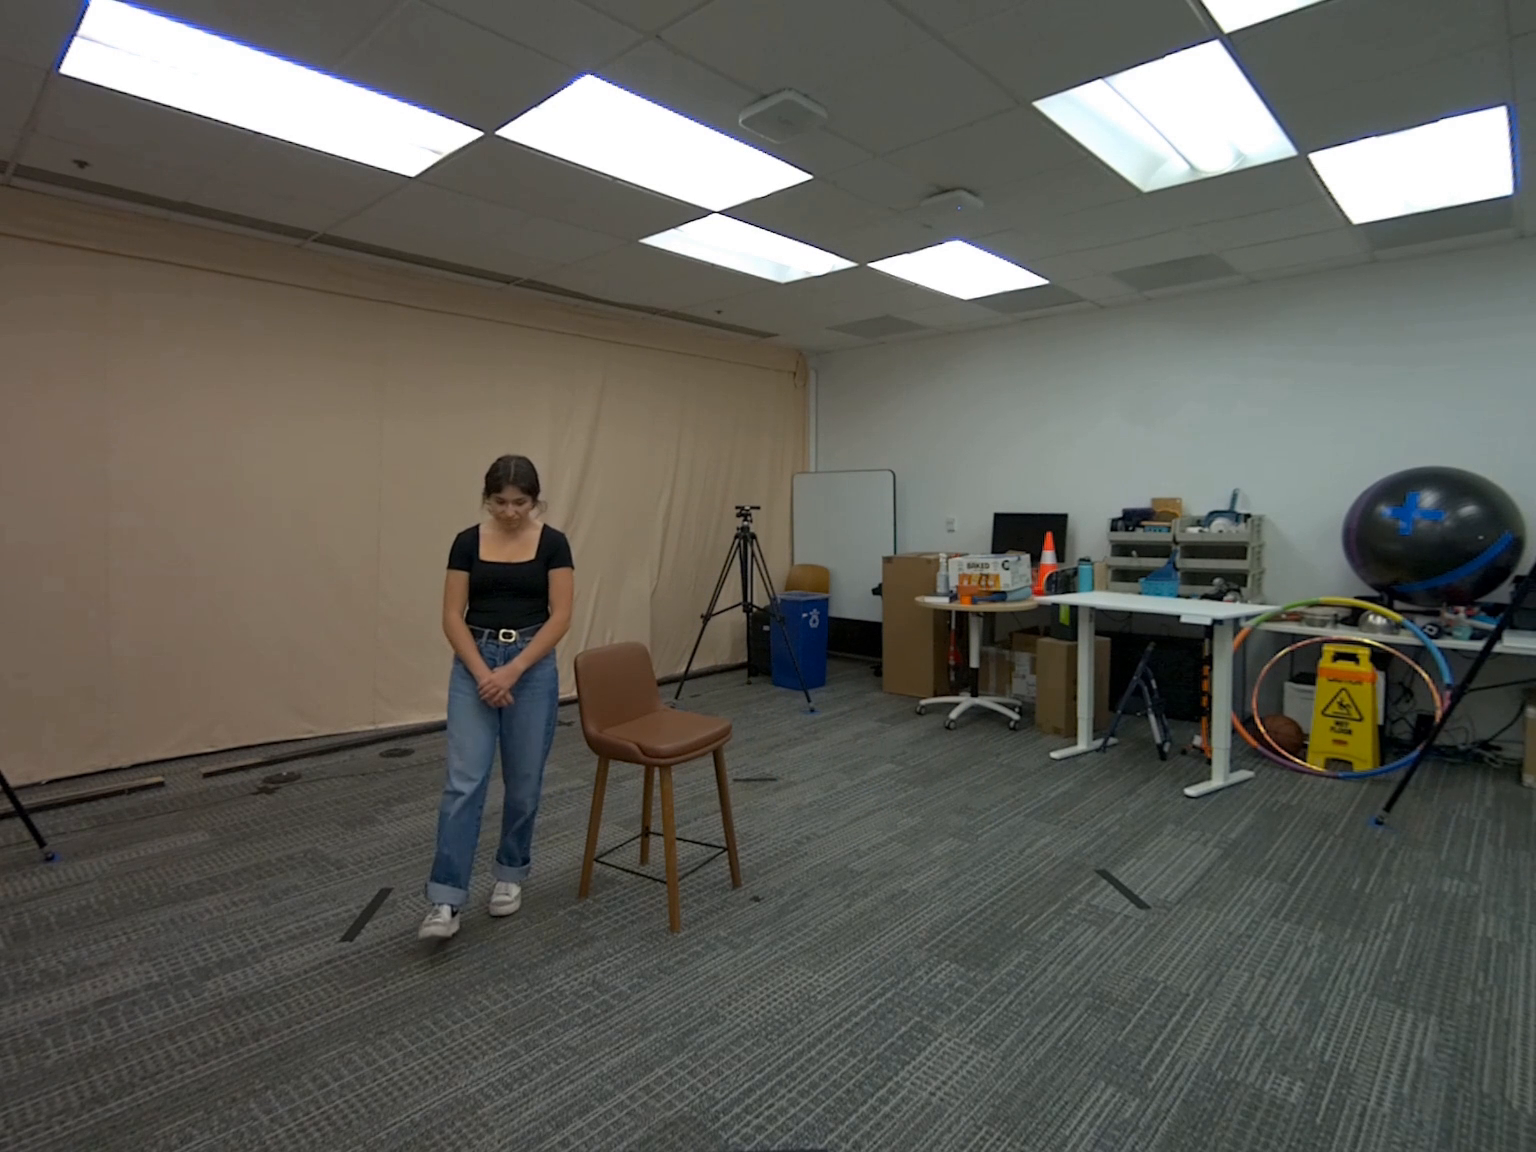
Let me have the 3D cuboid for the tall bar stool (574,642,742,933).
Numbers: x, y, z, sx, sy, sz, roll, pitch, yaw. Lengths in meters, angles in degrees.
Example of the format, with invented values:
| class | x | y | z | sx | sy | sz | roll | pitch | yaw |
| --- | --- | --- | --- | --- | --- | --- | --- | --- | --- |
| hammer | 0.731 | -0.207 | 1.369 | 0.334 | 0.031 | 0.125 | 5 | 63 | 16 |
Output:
| class | x | y | z | sx | sy | sz | roll | pitch | yaw |
| --- | --- | --- | --- | --- | --- | --- | --- | --- | --- |
| tall bar stool | -0.398 | 0.711 | 3.018 | 0.481 | 0.888 | 0.444 | 0 | 3 | 33 |
